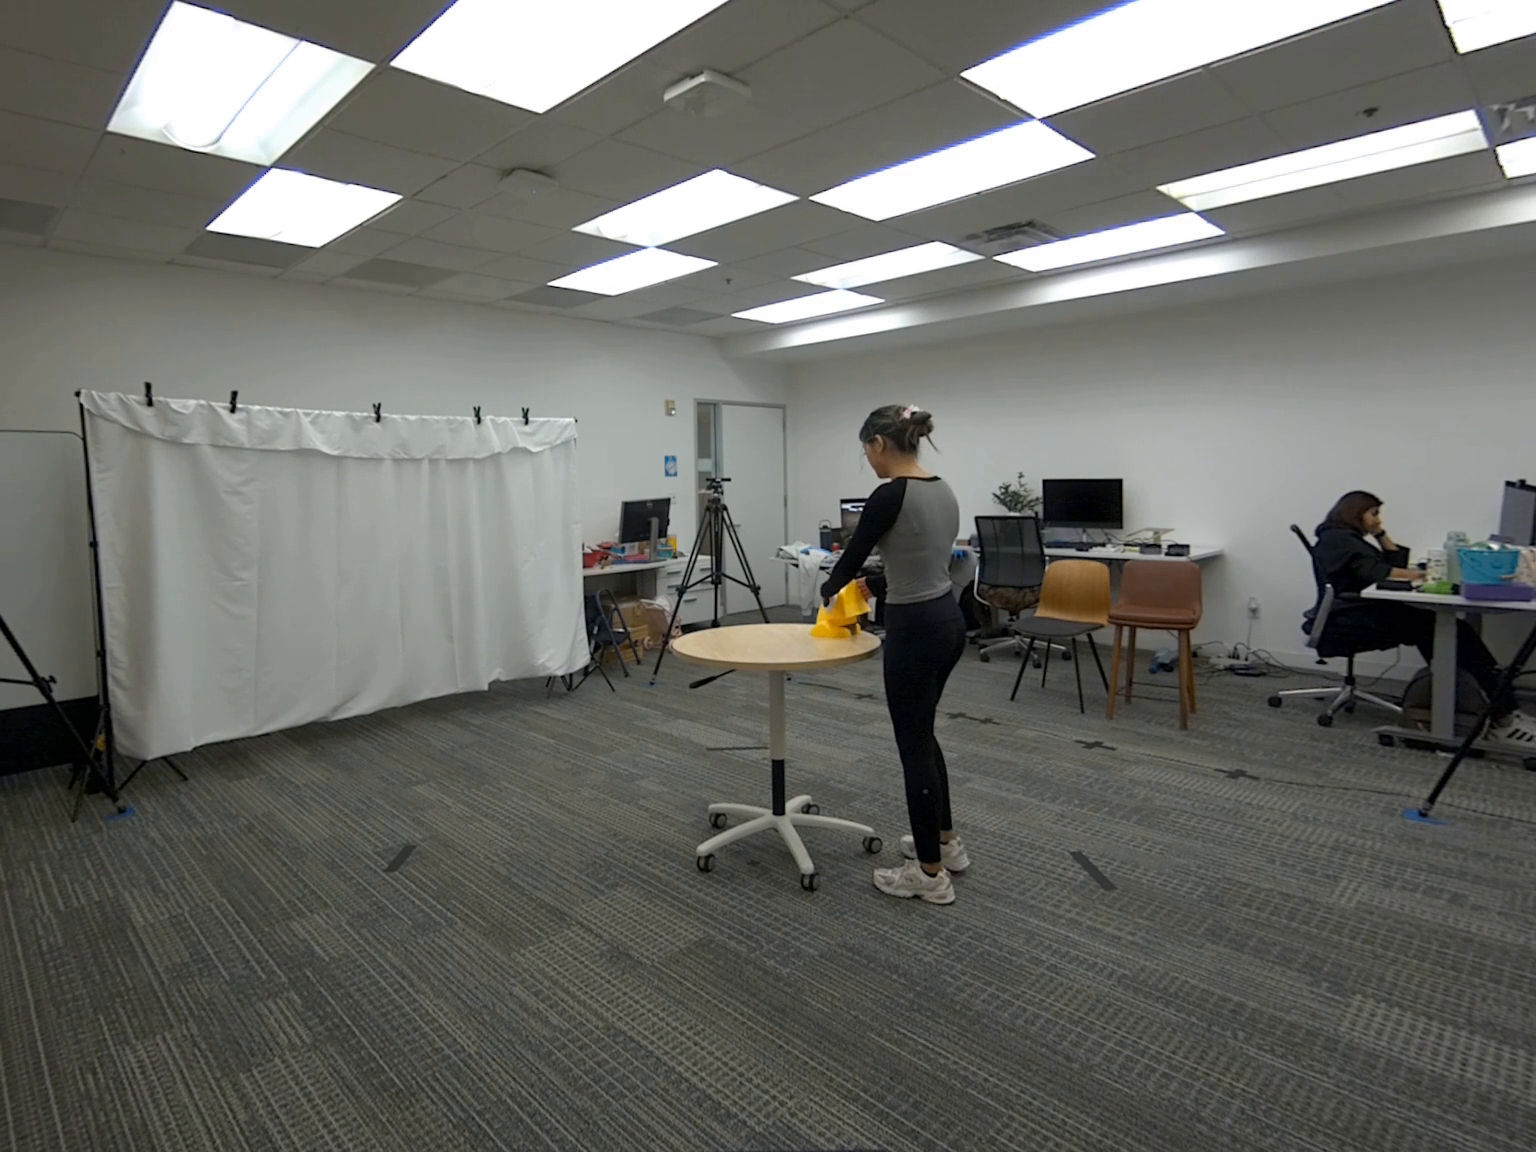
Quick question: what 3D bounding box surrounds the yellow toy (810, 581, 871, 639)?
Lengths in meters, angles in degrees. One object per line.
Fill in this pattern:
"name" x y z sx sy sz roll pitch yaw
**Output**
"yellow toy" 0.272 0.108 3.284 0.198 0.230 0.200 1 5 35
